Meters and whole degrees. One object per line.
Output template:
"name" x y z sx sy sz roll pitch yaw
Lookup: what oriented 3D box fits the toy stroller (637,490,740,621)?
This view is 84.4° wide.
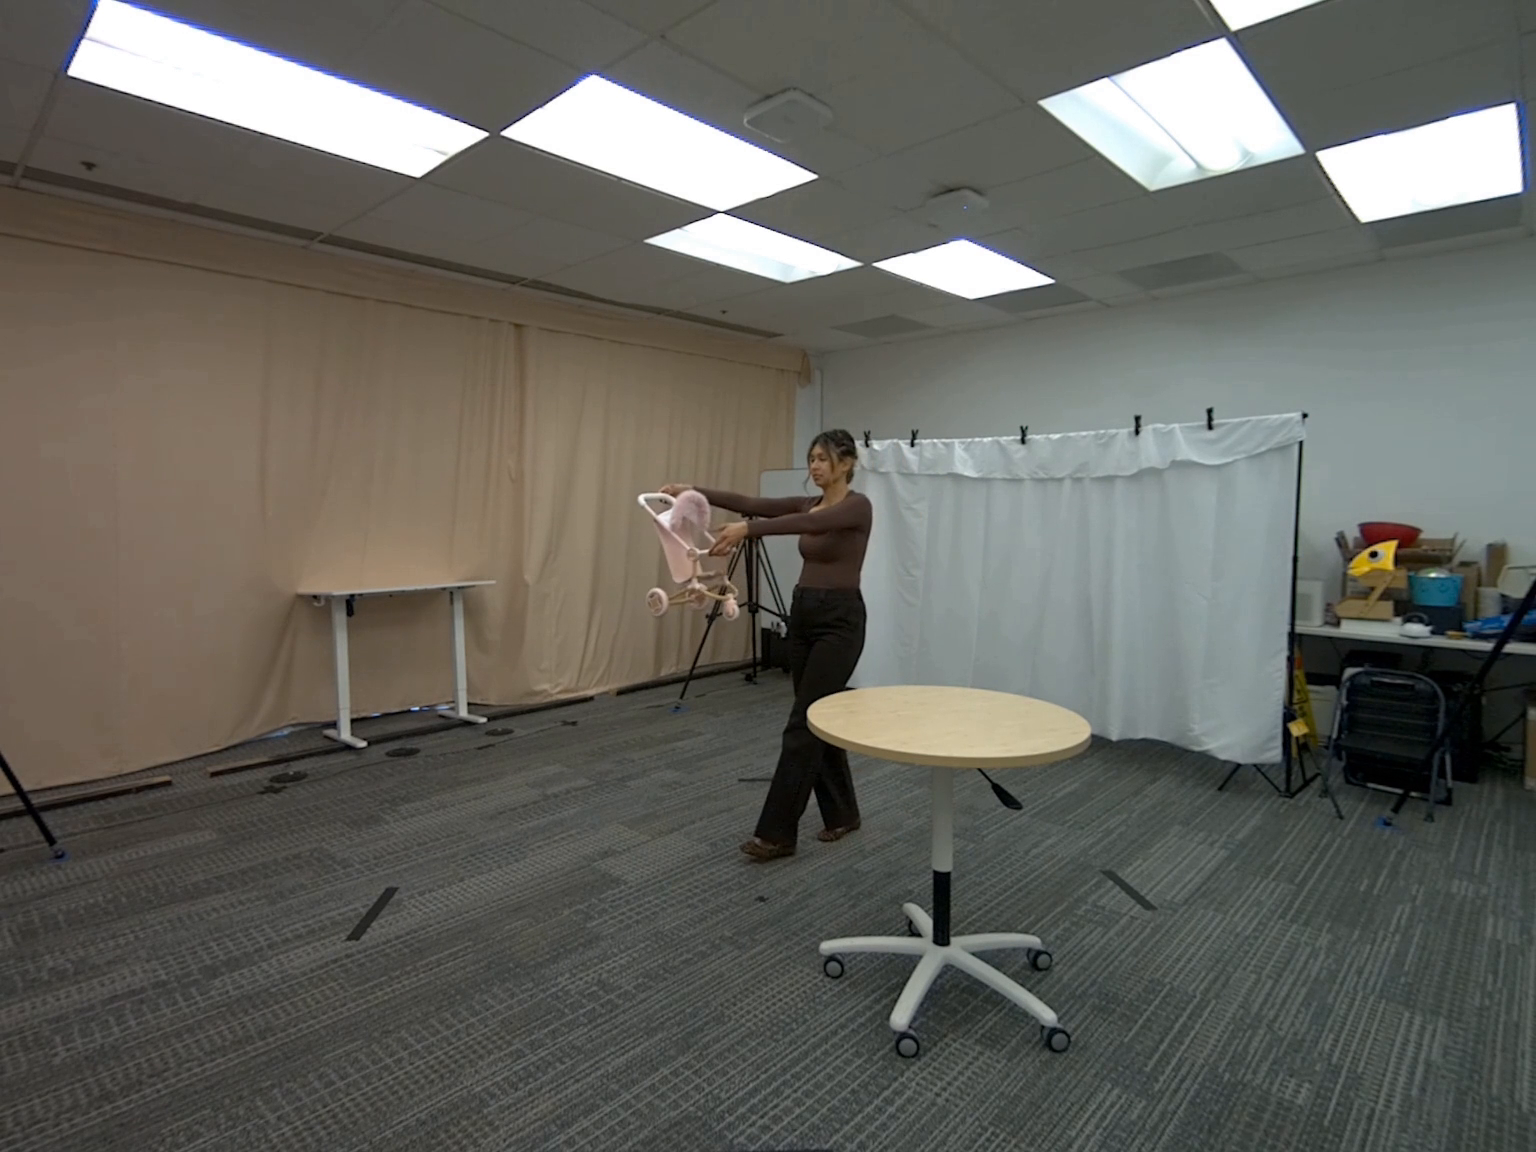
"toy stroller" -0.280 -0.077 3.153 0.350 0.537 0.273 -12 -5 39
